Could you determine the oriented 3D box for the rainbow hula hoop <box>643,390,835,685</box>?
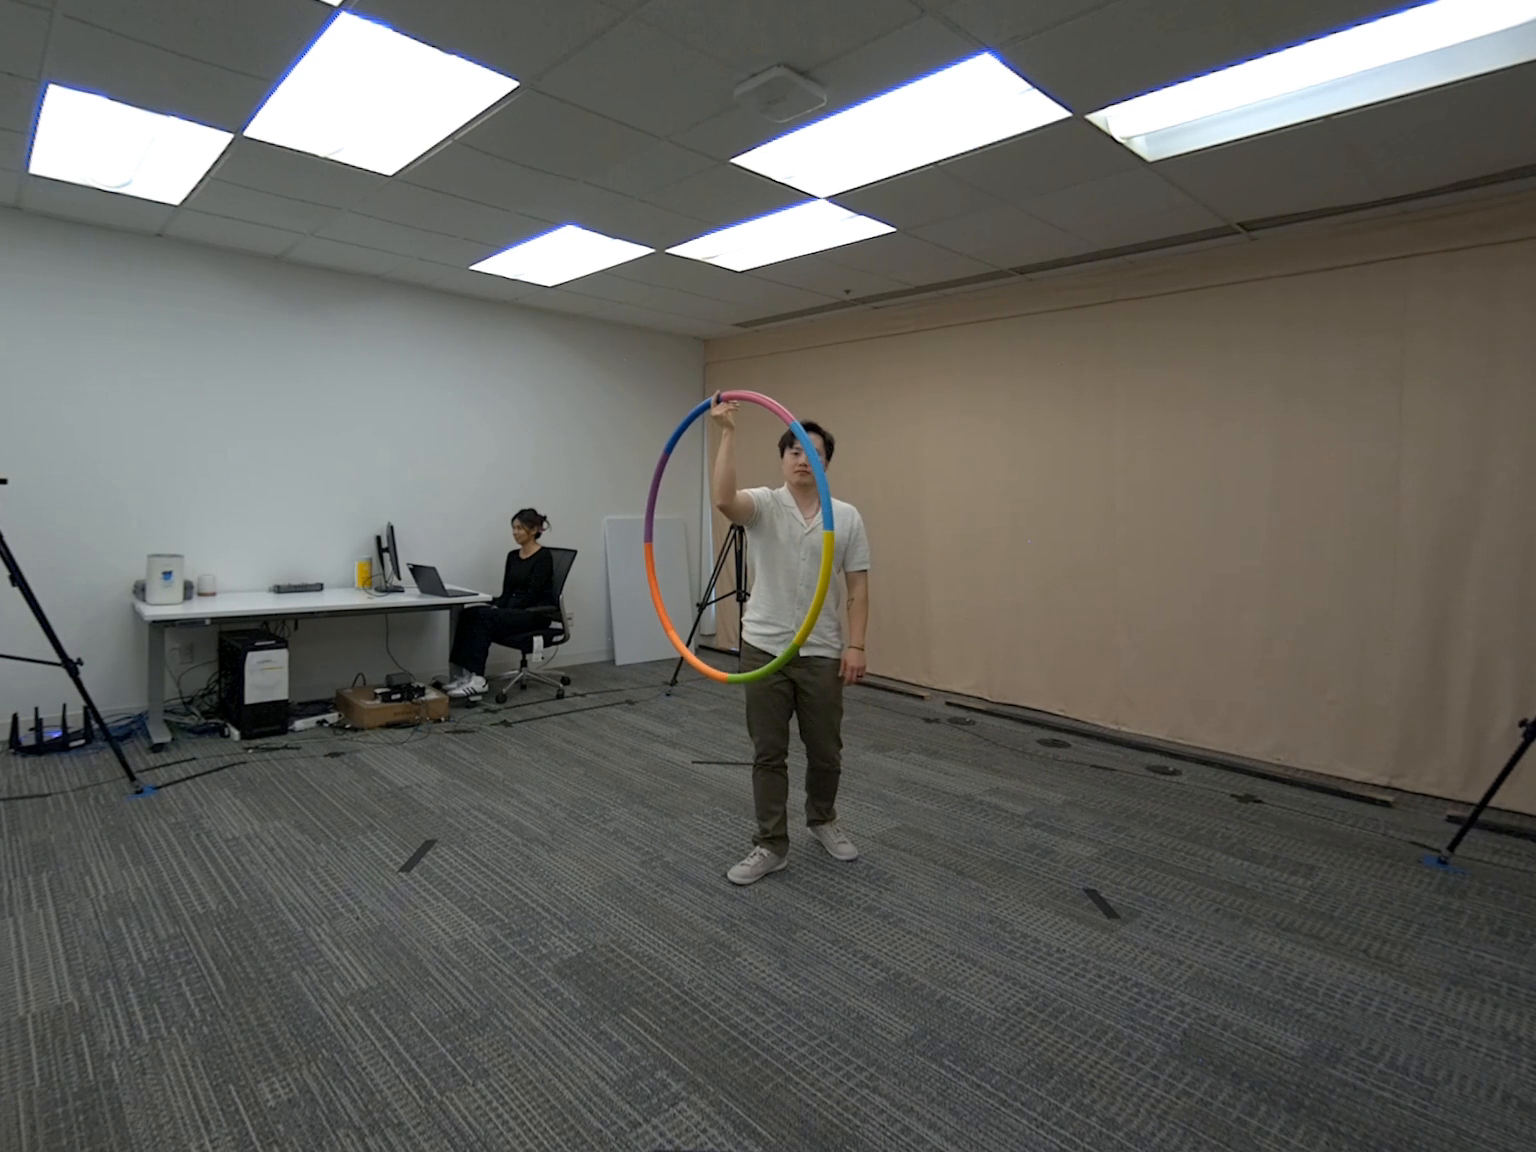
[{"bbox_3d":[-0.143,-0.134,2.880,0.035,0.977,1.004,1,4,-42],"label":"rainbow hula hoop"}]
